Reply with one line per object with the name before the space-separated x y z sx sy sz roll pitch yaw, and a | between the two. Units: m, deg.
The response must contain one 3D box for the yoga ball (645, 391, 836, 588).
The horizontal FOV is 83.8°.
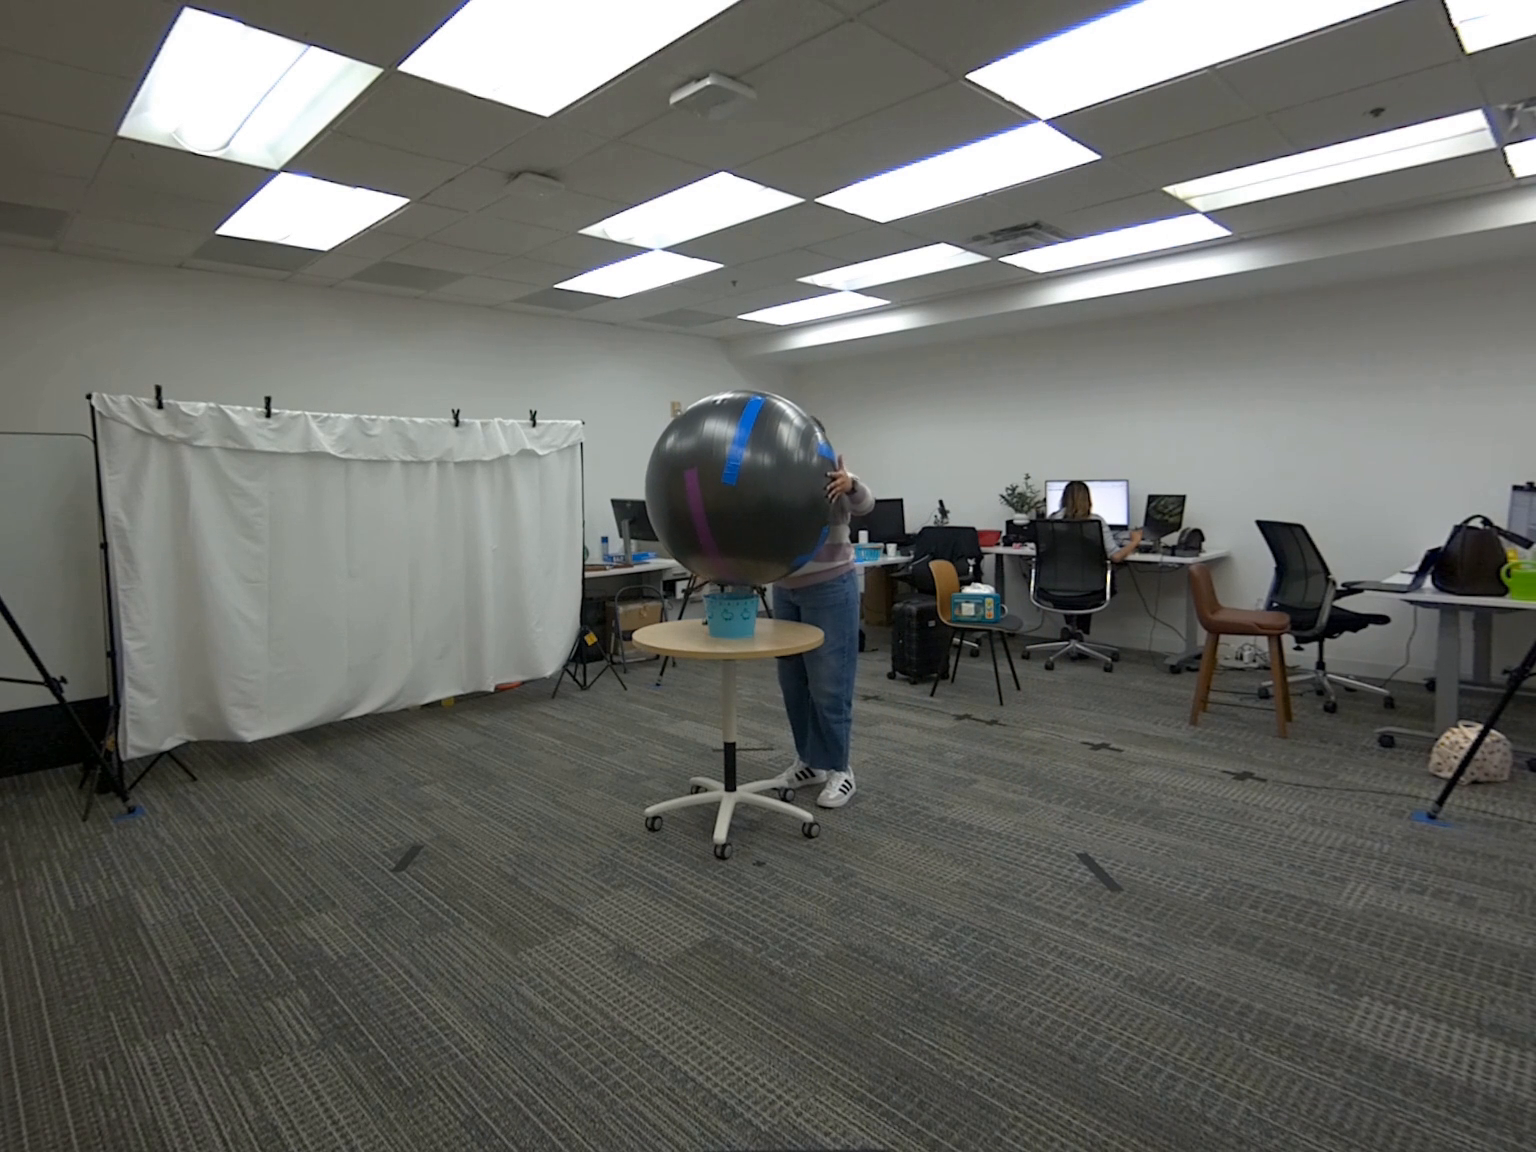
yoga ball | -0.107 -0.333 3.317 0.757 0.755 0.762 -1 5 -2
